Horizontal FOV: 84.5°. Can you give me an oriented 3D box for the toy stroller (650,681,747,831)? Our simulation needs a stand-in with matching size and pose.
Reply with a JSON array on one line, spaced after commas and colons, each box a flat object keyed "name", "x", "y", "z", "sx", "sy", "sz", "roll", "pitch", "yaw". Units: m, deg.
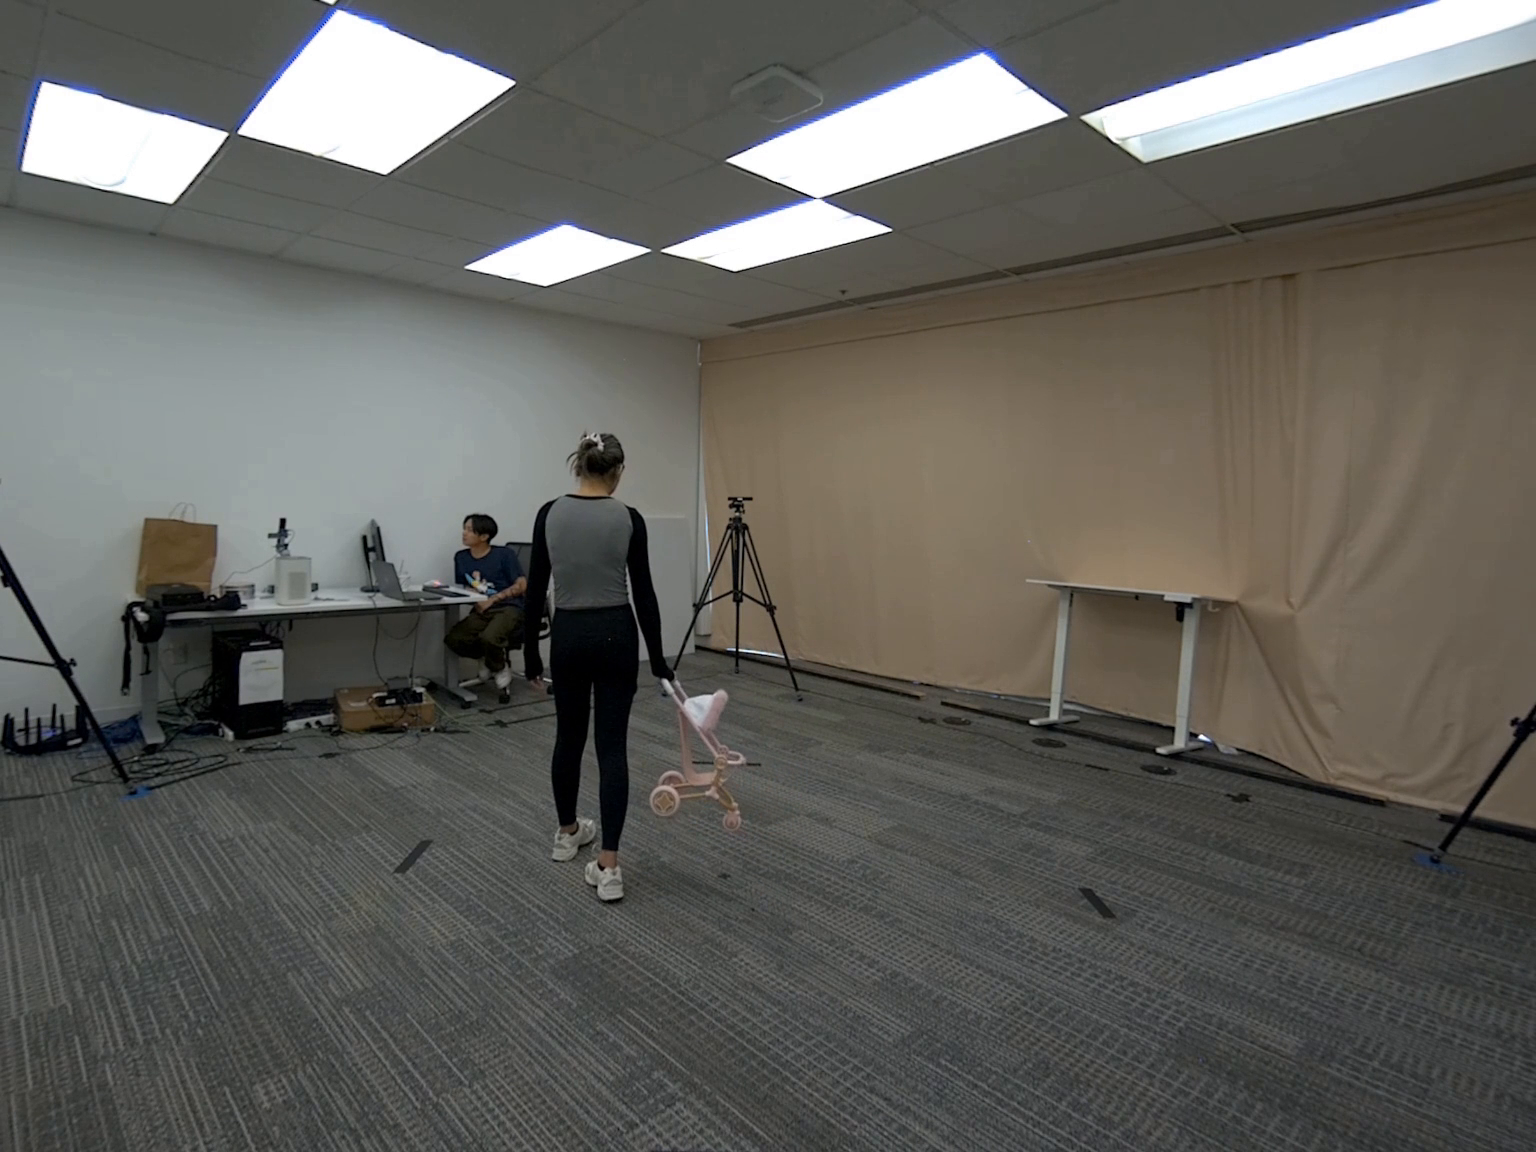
[{"name": "toy stroller", "x": -0.241, "y": 0.652, "z": 3.075, "sx": 0.343, "sy": 0.536, "sz": 0.279, "roll": 6, "pitch": -3, "yaw": 7}]
